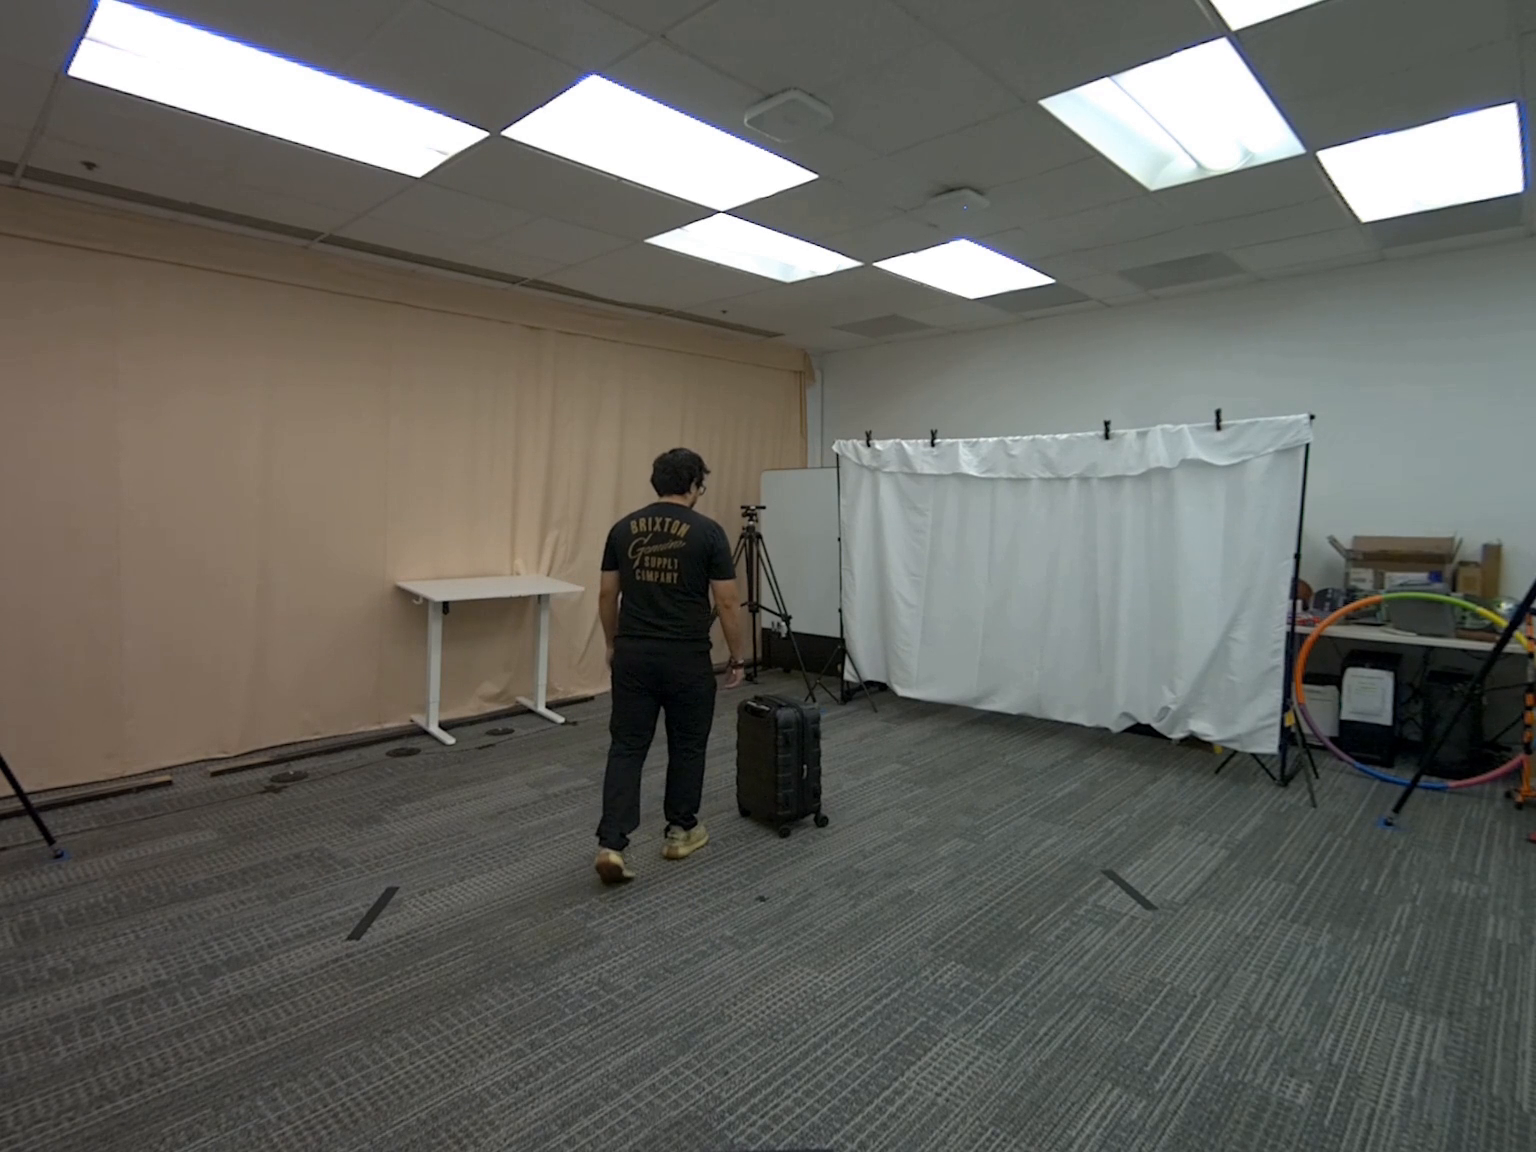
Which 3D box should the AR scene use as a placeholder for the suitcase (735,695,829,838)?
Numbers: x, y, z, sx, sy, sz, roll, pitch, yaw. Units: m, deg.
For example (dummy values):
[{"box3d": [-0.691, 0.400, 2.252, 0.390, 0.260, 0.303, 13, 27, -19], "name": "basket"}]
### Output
[{"box3d": [0.047, 0.805, 3.716, 0.241, 0.548, 0.387, -3, 4, -34], "name": "suitcase"}]
